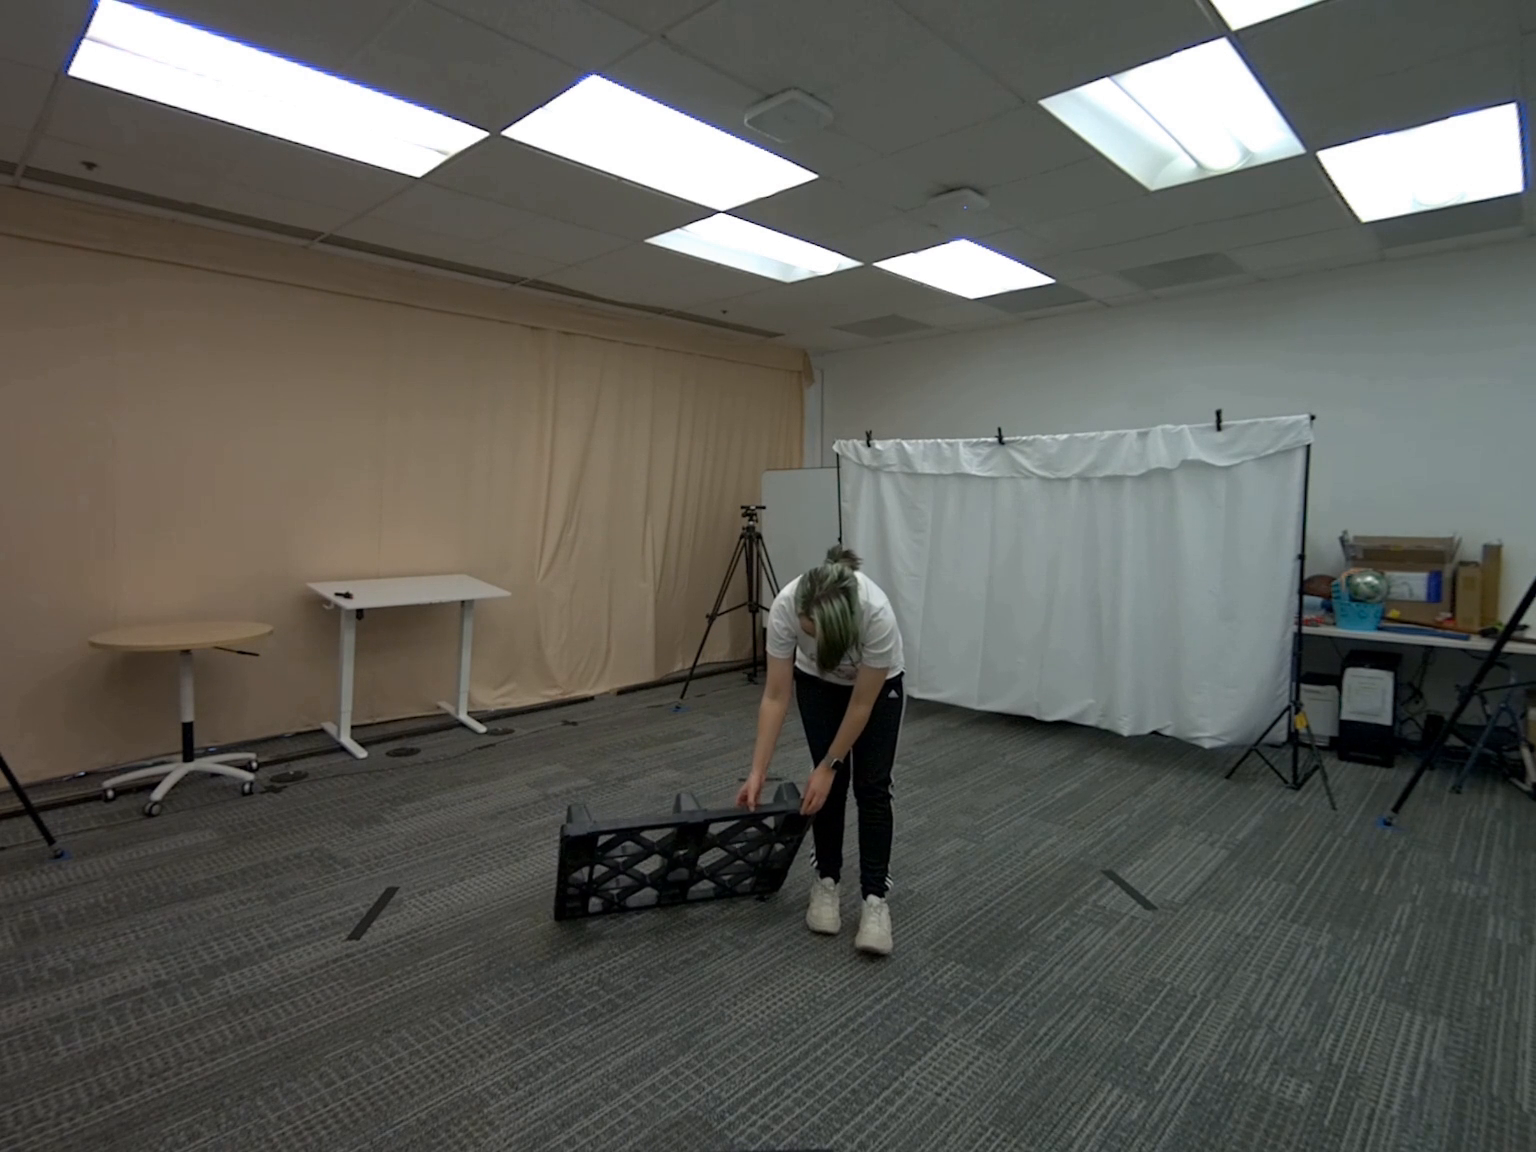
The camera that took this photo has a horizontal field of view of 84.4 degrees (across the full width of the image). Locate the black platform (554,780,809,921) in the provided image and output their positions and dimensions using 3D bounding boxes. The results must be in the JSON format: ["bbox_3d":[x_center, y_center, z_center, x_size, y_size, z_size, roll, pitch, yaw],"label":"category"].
[{"bbox_3d":[-0.296,0.900,2.766,0.792,0.599,0.147,-1,45,-16],"label":"black platform"}]
